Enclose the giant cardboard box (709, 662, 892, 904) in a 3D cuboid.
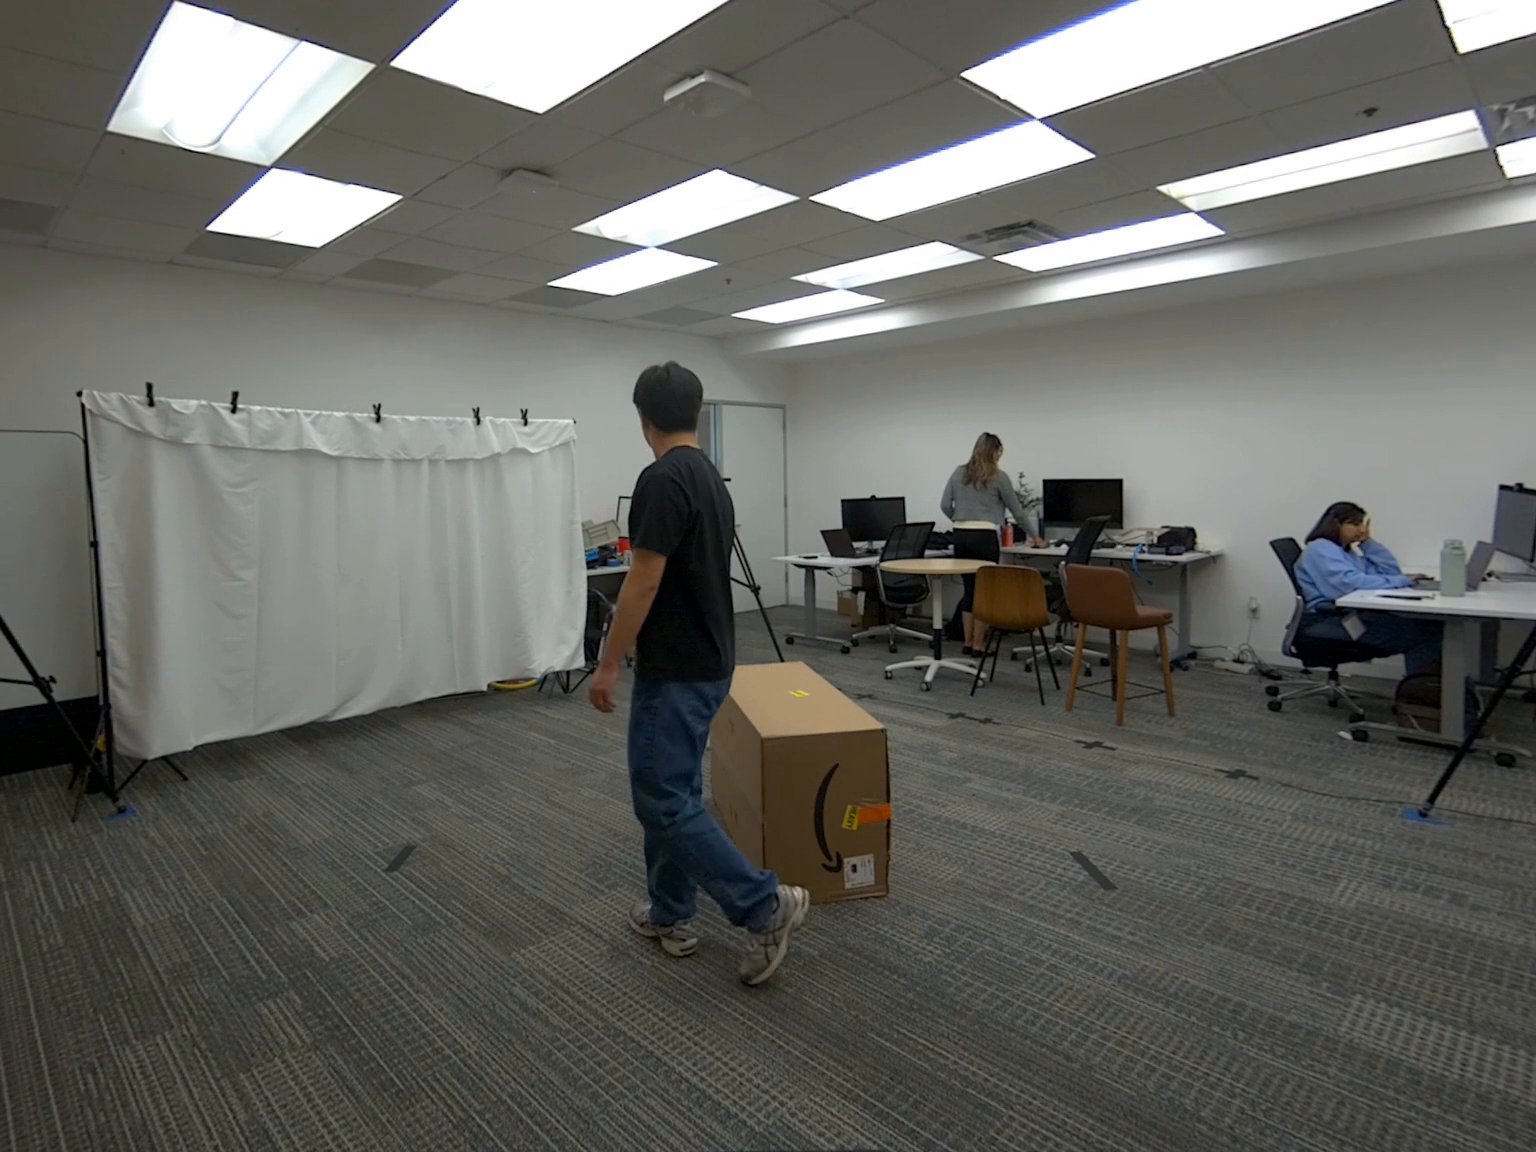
[{"bbox_3d":[0.077,0.731,3.282,0.441,0.581,1.044,-1,6,-14],"label":"giant cardboard box"}]
